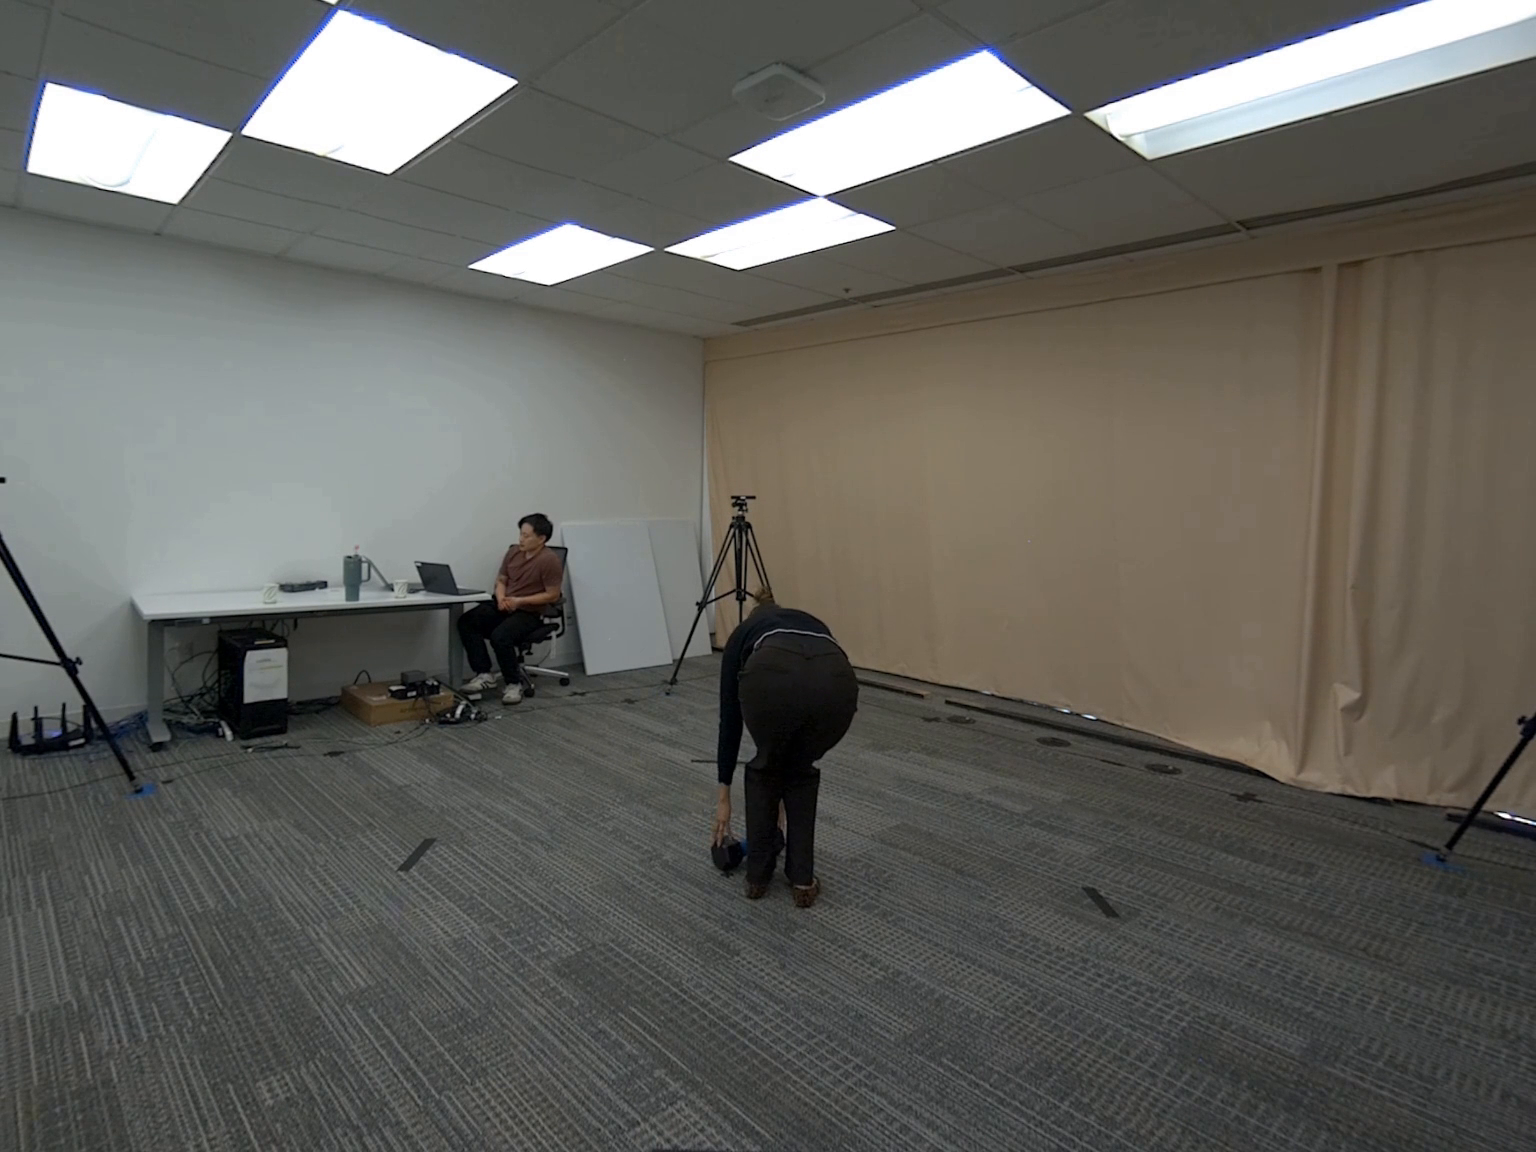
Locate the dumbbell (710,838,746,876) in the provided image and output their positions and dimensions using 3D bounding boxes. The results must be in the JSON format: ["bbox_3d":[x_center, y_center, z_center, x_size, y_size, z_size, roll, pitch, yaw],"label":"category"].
[{"bbox_3d":[-0.083,1.041,3.226,0.287,0.108,0.126,-3,13,-39],"label":"dumbbell"}]
